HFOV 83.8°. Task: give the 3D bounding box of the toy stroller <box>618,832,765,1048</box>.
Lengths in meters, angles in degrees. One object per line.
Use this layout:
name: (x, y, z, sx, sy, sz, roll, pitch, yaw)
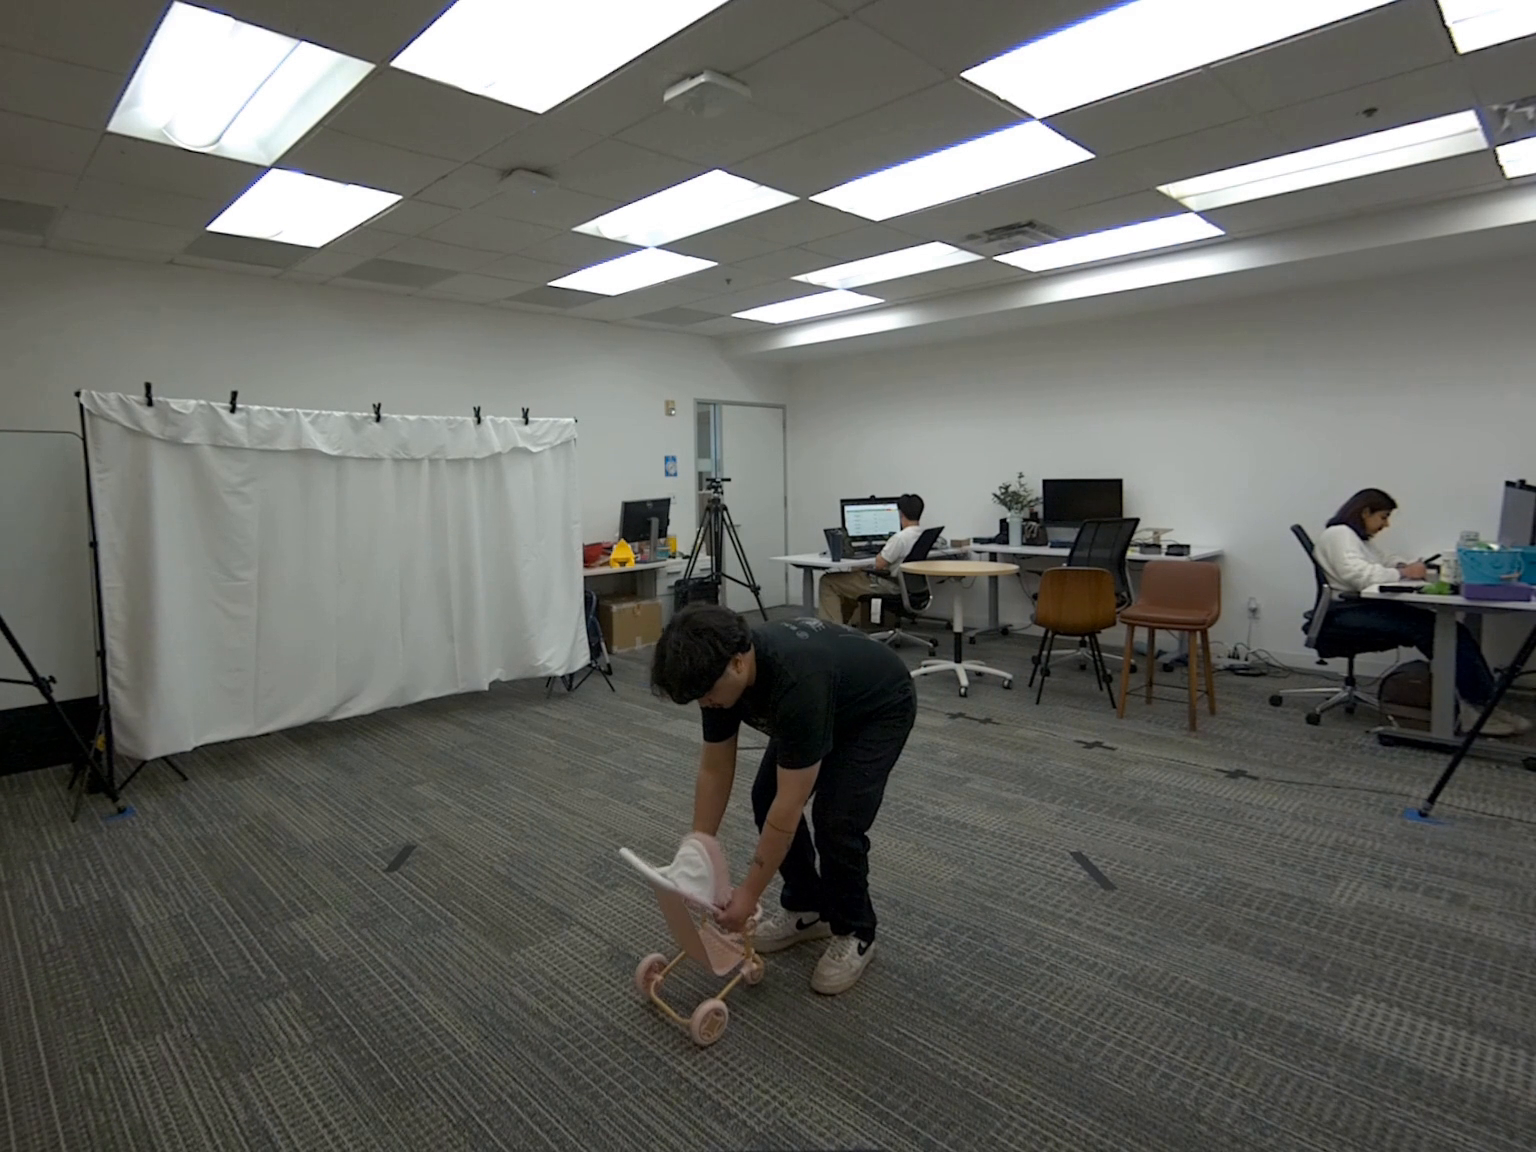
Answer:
toy stroller: (-0.166, 0.915, 2.233, 0.335, 0.529, 0.290, -17, 14, -35)
